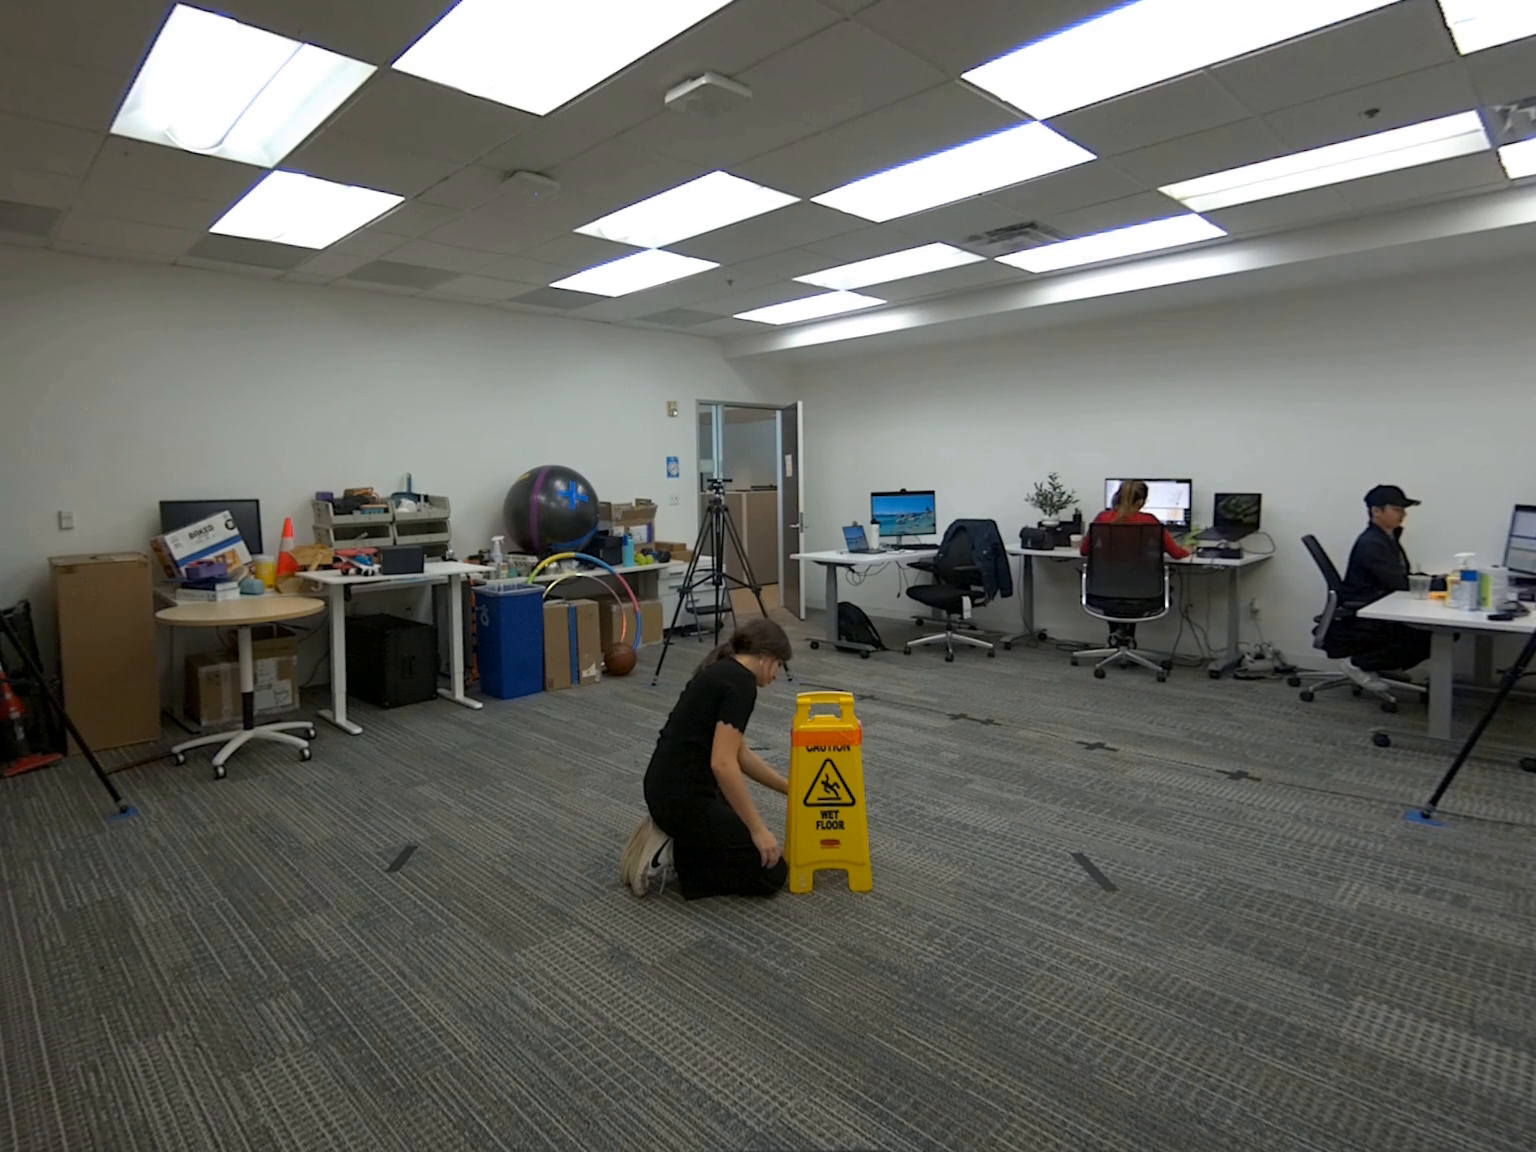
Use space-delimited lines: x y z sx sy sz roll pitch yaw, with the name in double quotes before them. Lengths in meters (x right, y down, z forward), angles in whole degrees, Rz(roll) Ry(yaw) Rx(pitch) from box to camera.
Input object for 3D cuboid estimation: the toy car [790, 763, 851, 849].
"toy car" 0.187 0.829 3.104 0.129 0.254 0.084 18 1 -5
